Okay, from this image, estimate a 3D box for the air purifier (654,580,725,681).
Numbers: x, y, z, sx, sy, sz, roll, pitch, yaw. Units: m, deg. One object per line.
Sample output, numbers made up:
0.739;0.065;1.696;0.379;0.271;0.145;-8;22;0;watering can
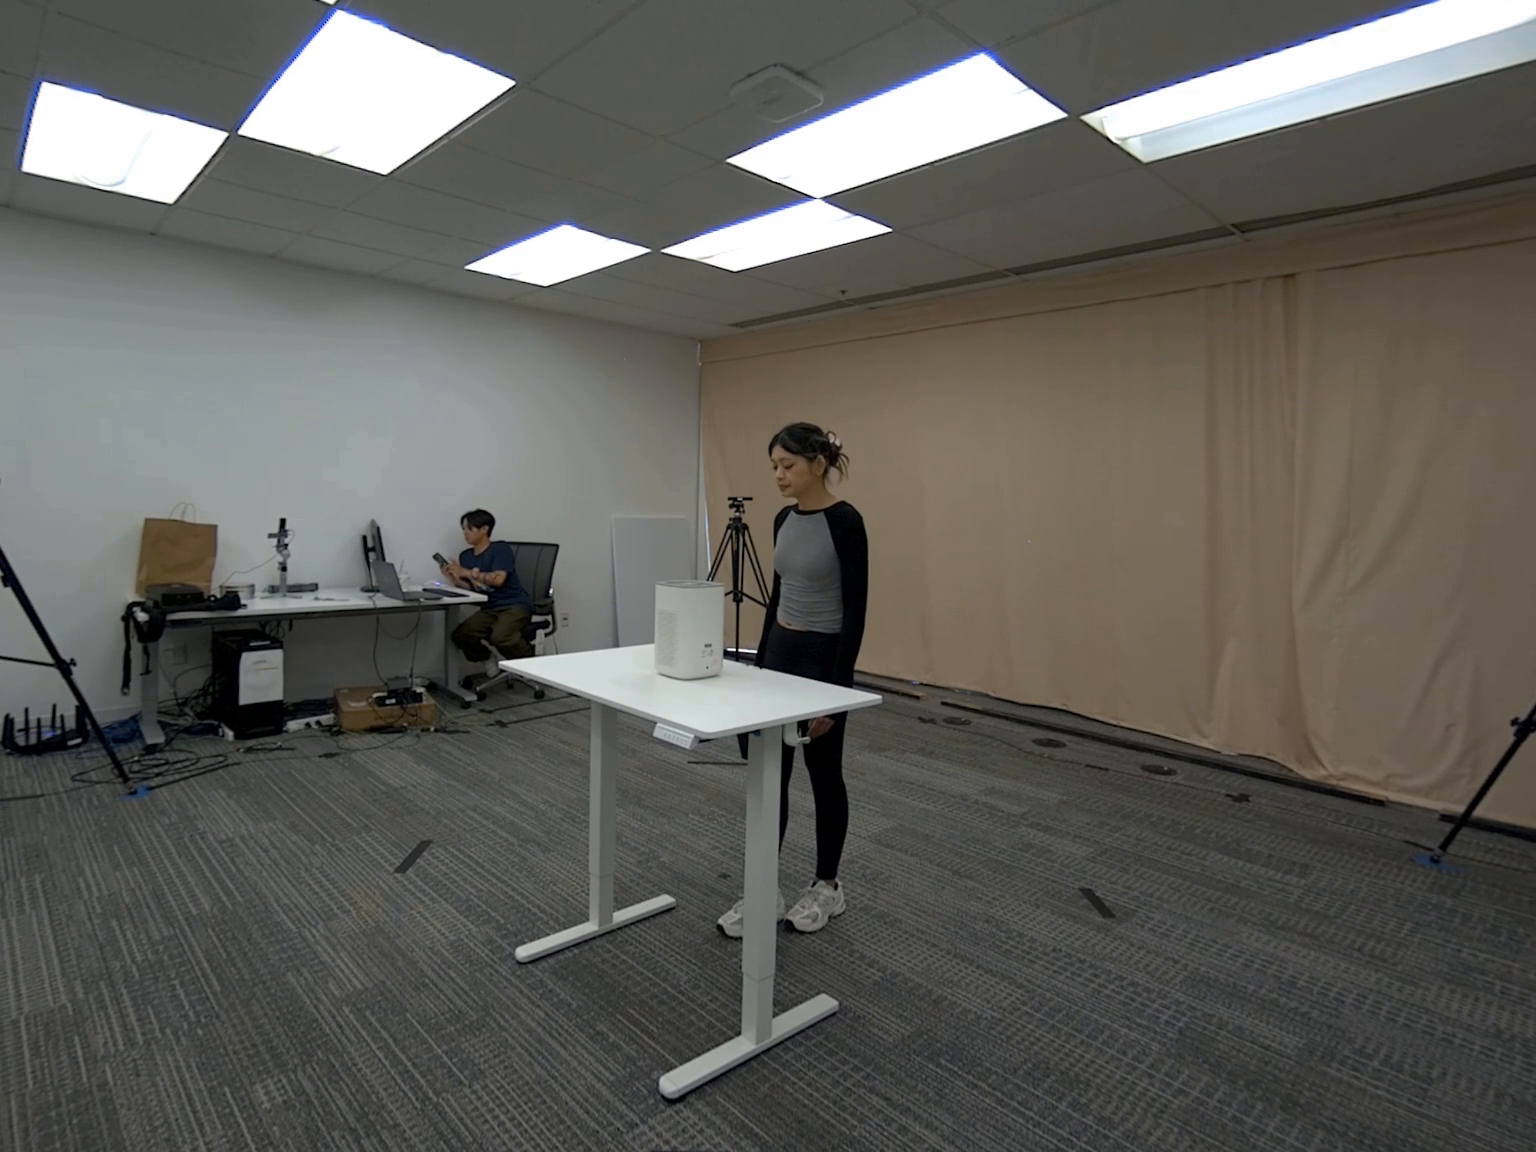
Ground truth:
-0.231;0.155;2.415;0.167;0.265;0.176;-2;4;-44;air purifier
